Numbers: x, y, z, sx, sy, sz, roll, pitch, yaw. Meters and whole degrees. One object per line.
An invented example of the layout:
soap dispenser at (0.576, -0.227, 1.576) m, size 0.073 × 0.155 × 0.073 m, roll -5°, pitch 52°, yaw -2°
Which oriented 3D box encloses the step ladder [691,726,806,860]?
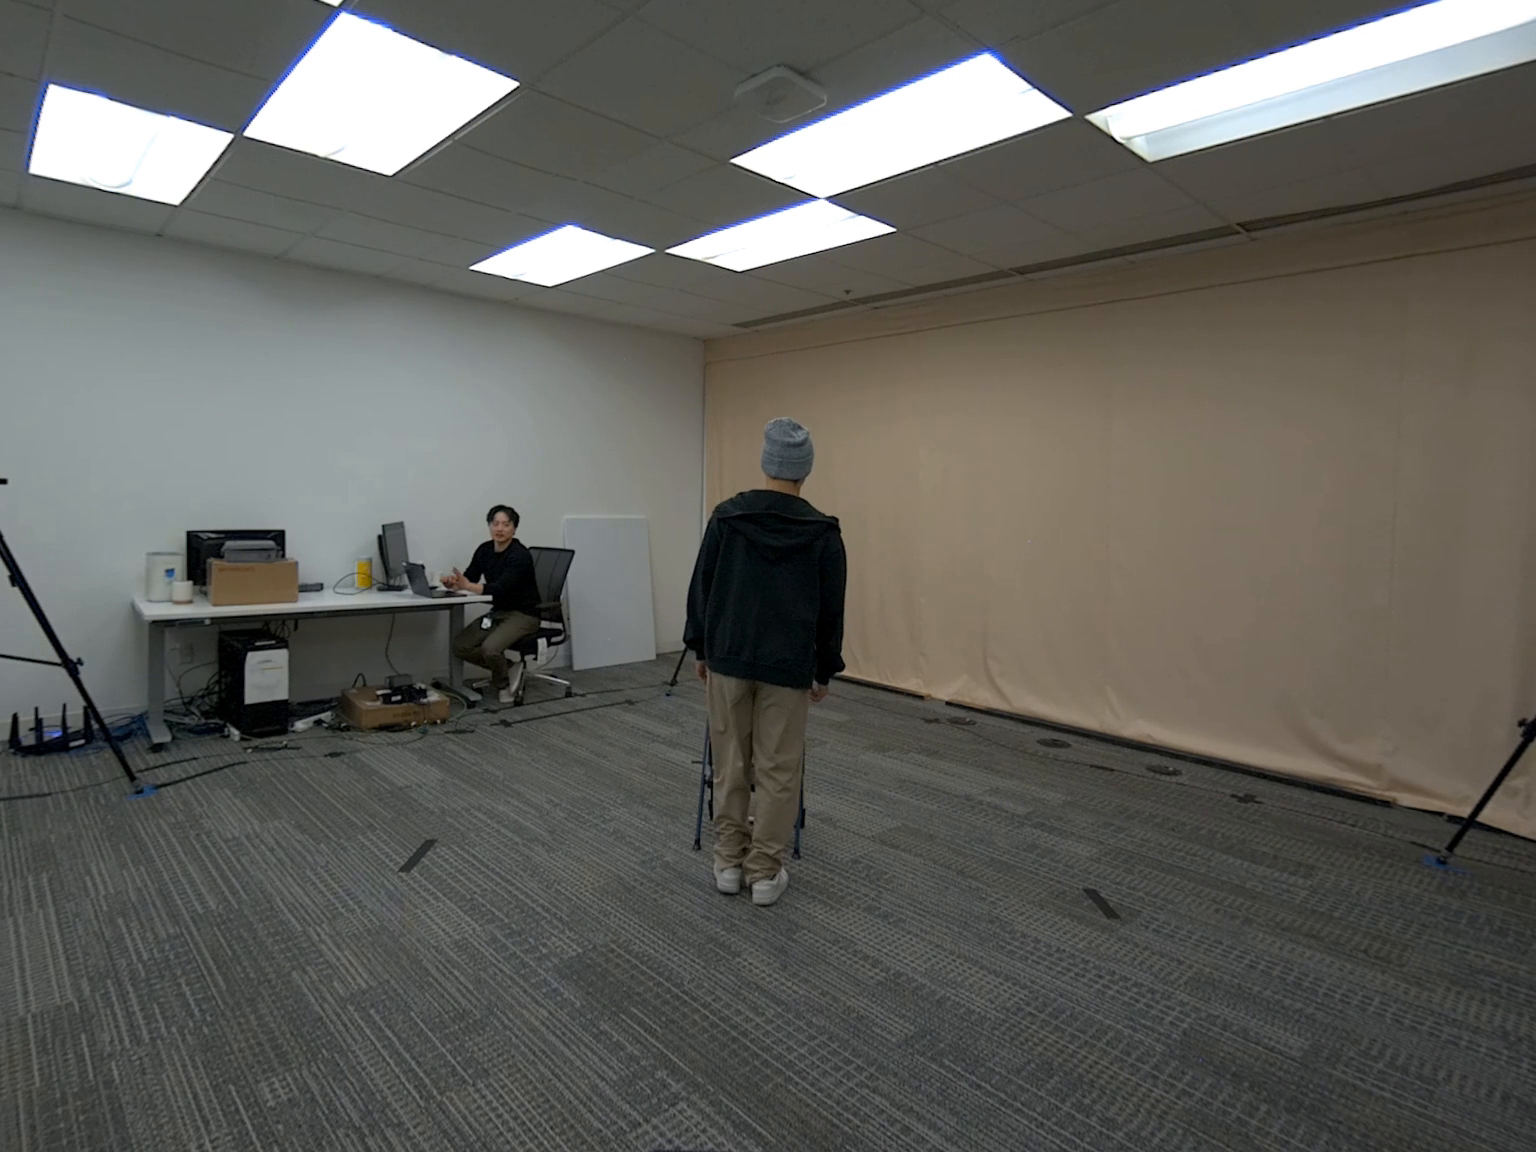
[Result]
step ladder at (-0.063, 0.781, 3.453) m, size 0.433 × 0.604 × 0.348 m, roll 2°, pitch 3°, yaw 7°
